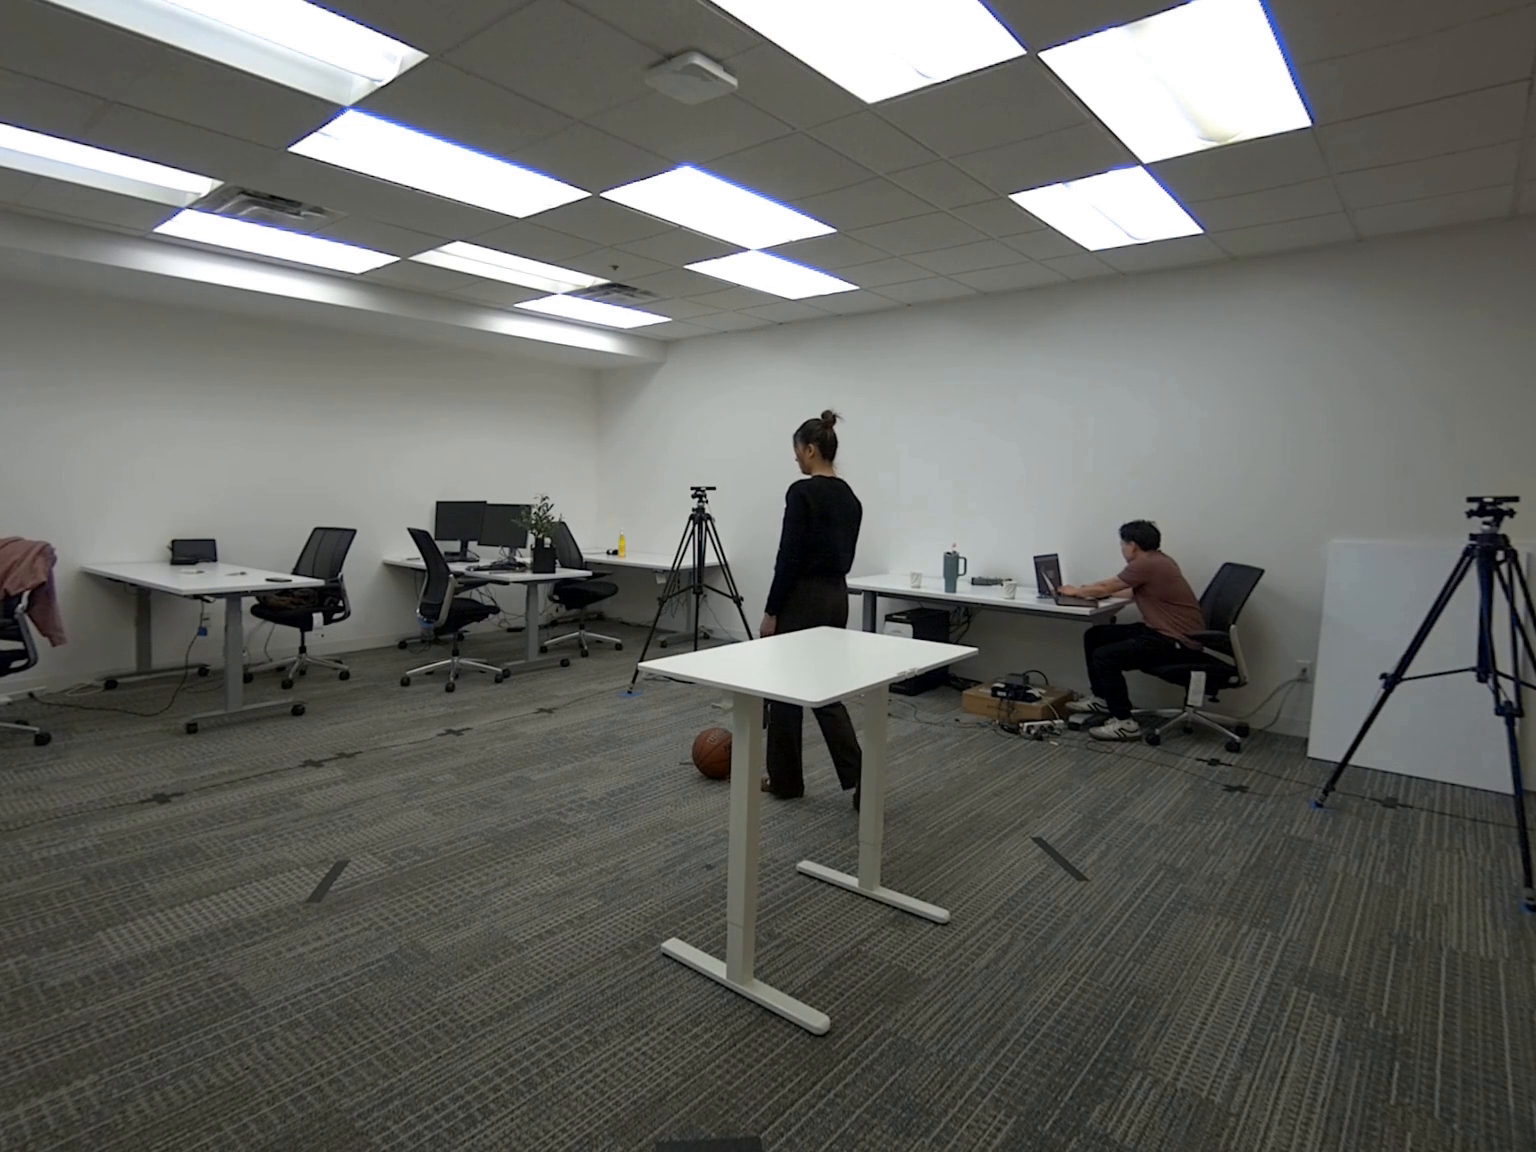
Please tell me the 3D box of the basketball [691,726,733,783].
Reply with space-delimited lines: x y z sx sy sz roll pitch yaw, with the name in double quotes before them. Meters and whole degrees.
"basketball" -0.259 0.851 4.114 0.235 0.235 0.237 1 4 -2
